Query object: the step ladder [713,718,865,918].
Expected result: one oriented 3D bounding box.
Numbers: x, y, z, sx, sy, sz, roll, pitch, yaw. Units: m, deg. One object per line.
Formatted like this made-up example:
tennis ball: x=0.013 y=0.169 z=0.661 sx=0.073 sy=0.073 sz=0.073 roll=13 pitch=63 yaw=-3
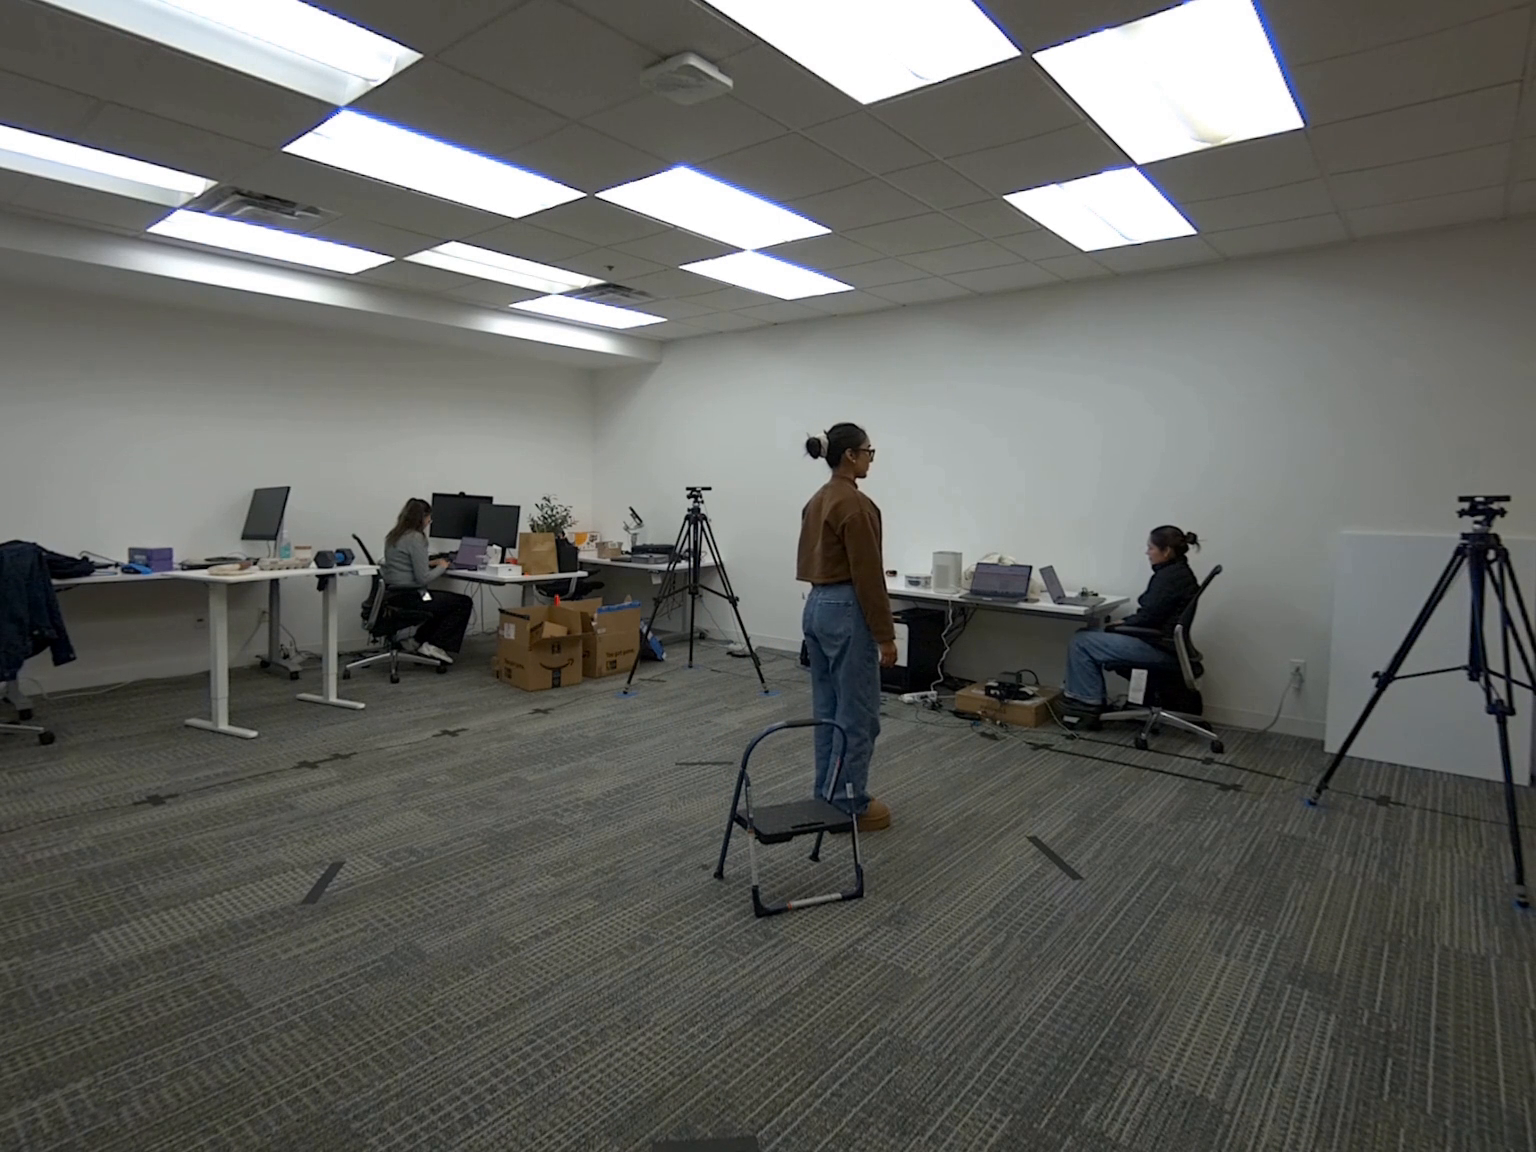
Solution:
step ladder: x=0.068 y=0.782 z=2.971 sx=0.420 sy=0.604 sz=0.359 roll=-1 pitch=4 yaw=-26
